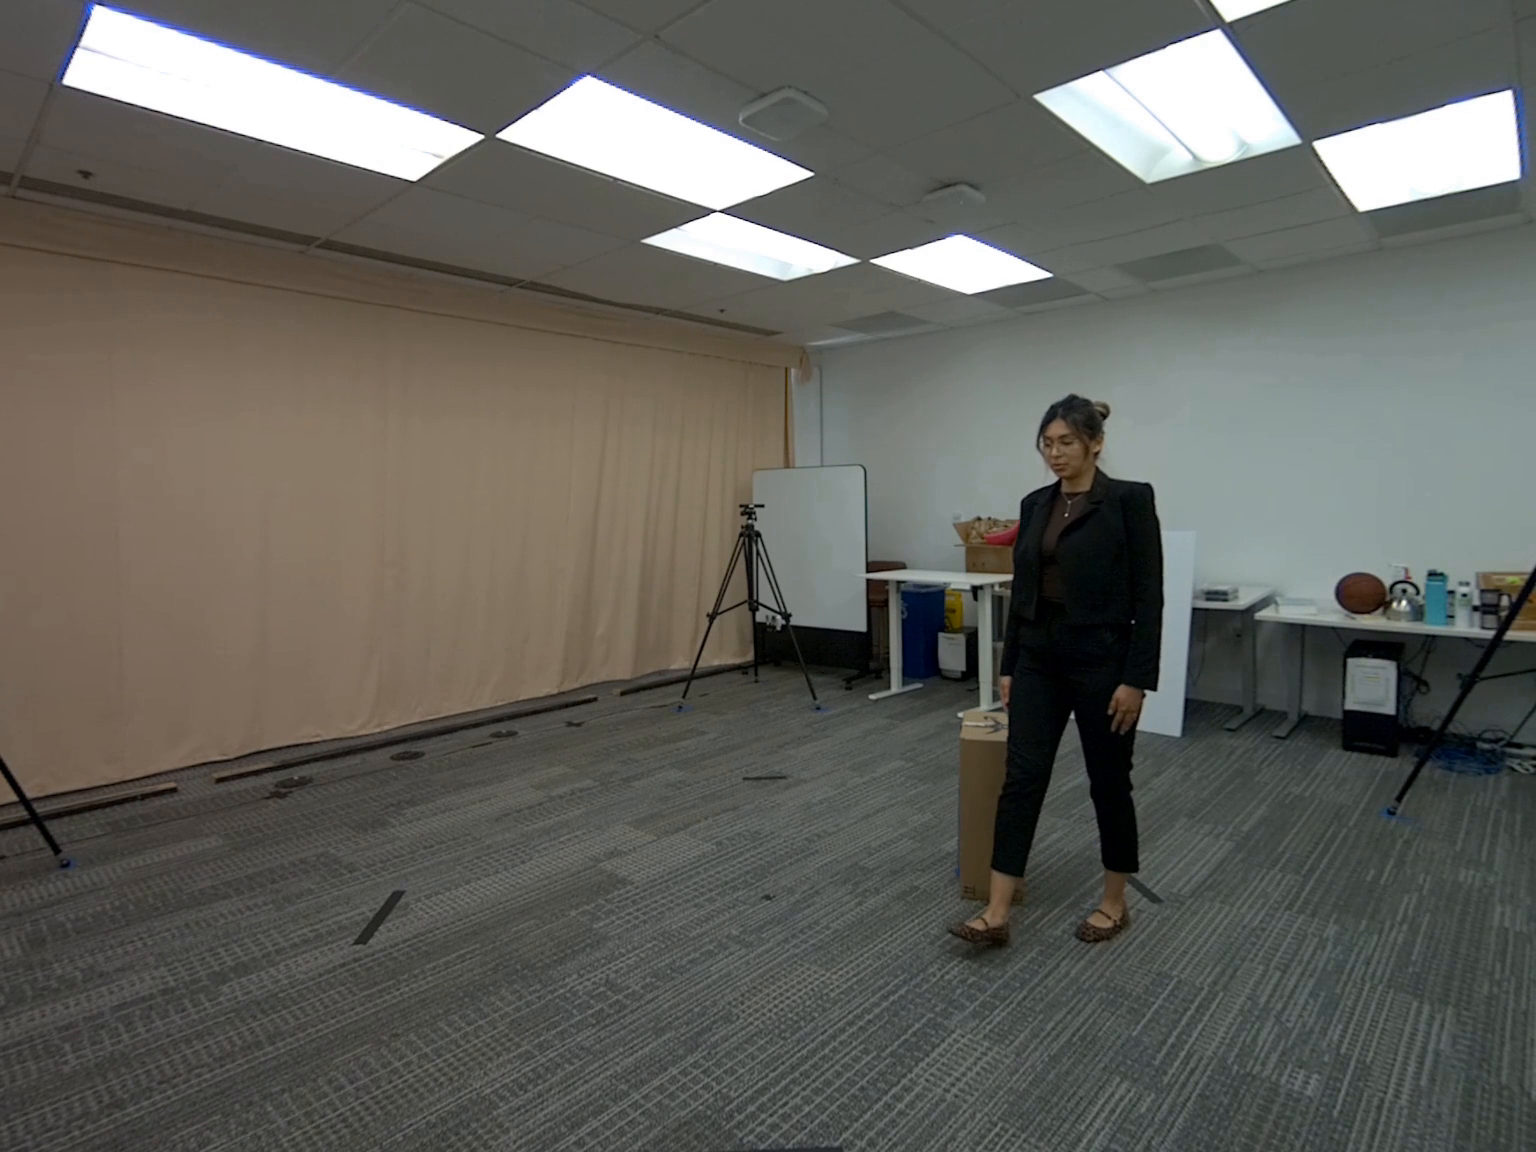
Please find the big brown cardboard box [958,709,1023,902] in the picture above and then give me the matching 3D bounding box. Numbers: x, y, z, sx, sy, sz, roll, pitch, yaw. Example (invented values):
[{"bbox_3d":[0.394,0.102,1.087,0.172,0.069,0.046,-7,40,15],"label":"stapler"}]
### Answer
[{"bbox_3d":[0.827,0.834,3.100,0.237,0.588,0.410,1,3,16],"label":"big brown cardboard box"}]
